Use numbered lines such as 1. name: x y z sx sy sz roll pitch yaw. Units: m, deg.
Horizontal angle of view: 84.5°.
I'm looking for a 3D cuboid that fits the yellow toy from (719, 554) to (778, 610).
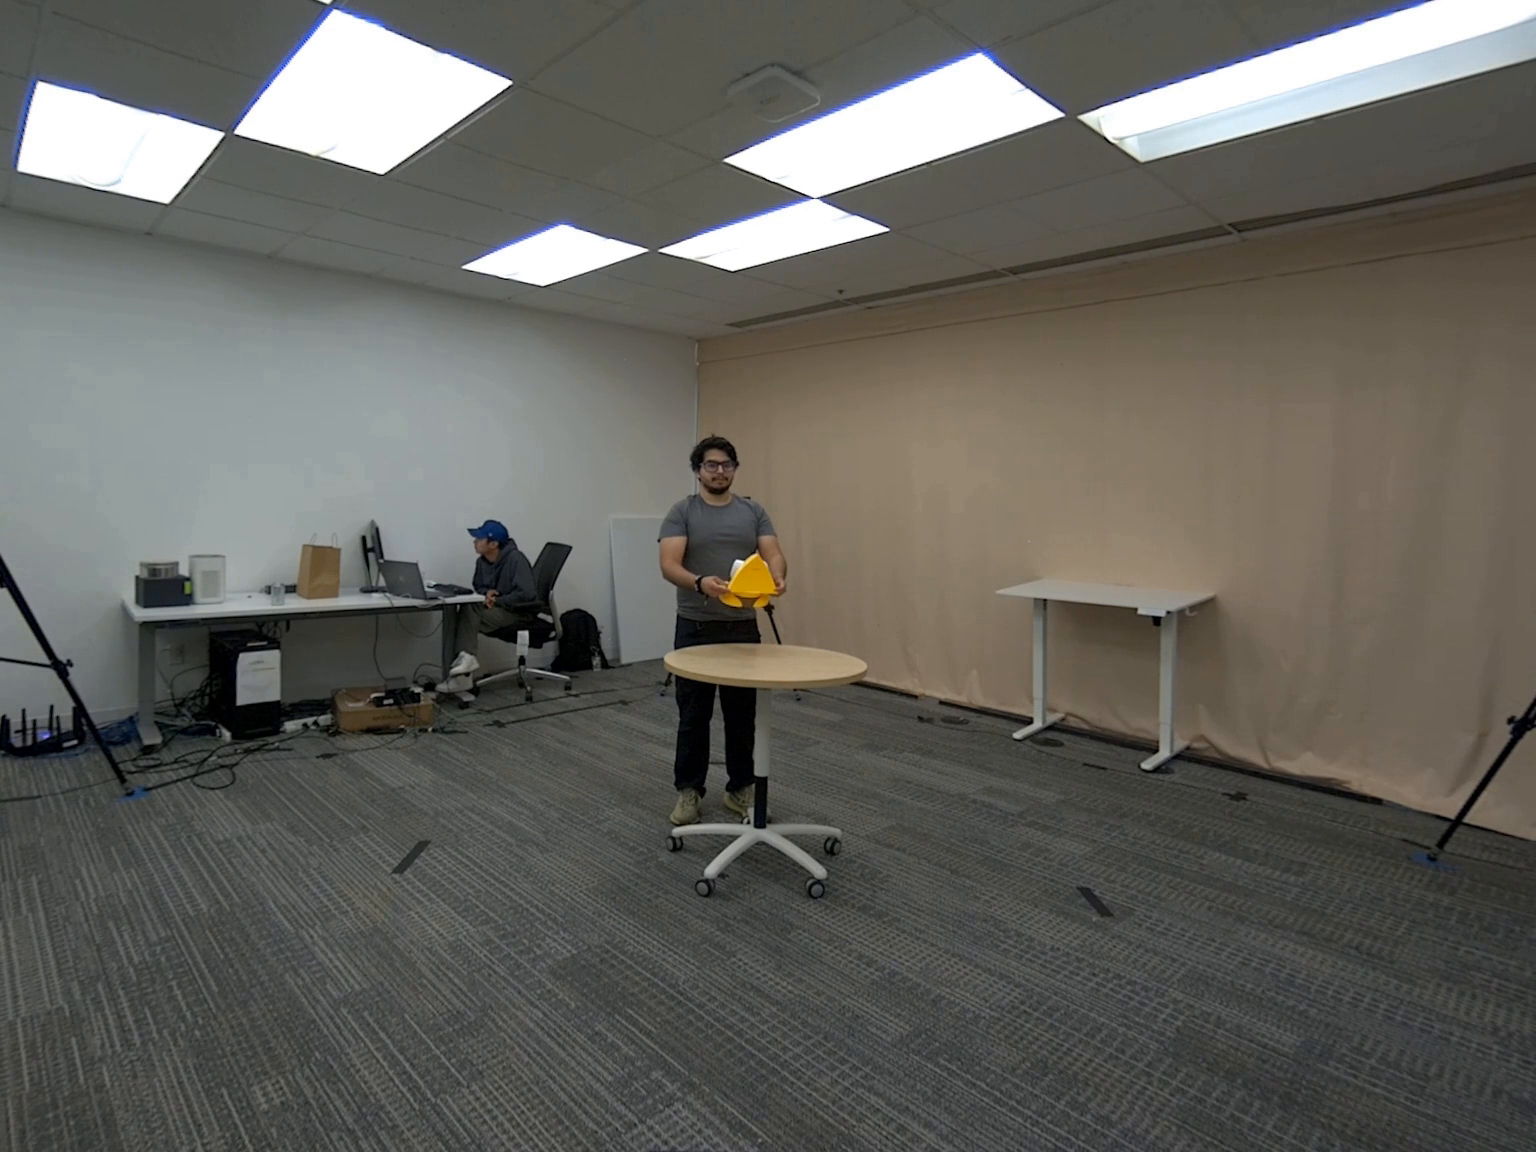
1. yellow toy: -0.090 -0.014 3.311 0.202 0.227 0.198 2 27 -17
